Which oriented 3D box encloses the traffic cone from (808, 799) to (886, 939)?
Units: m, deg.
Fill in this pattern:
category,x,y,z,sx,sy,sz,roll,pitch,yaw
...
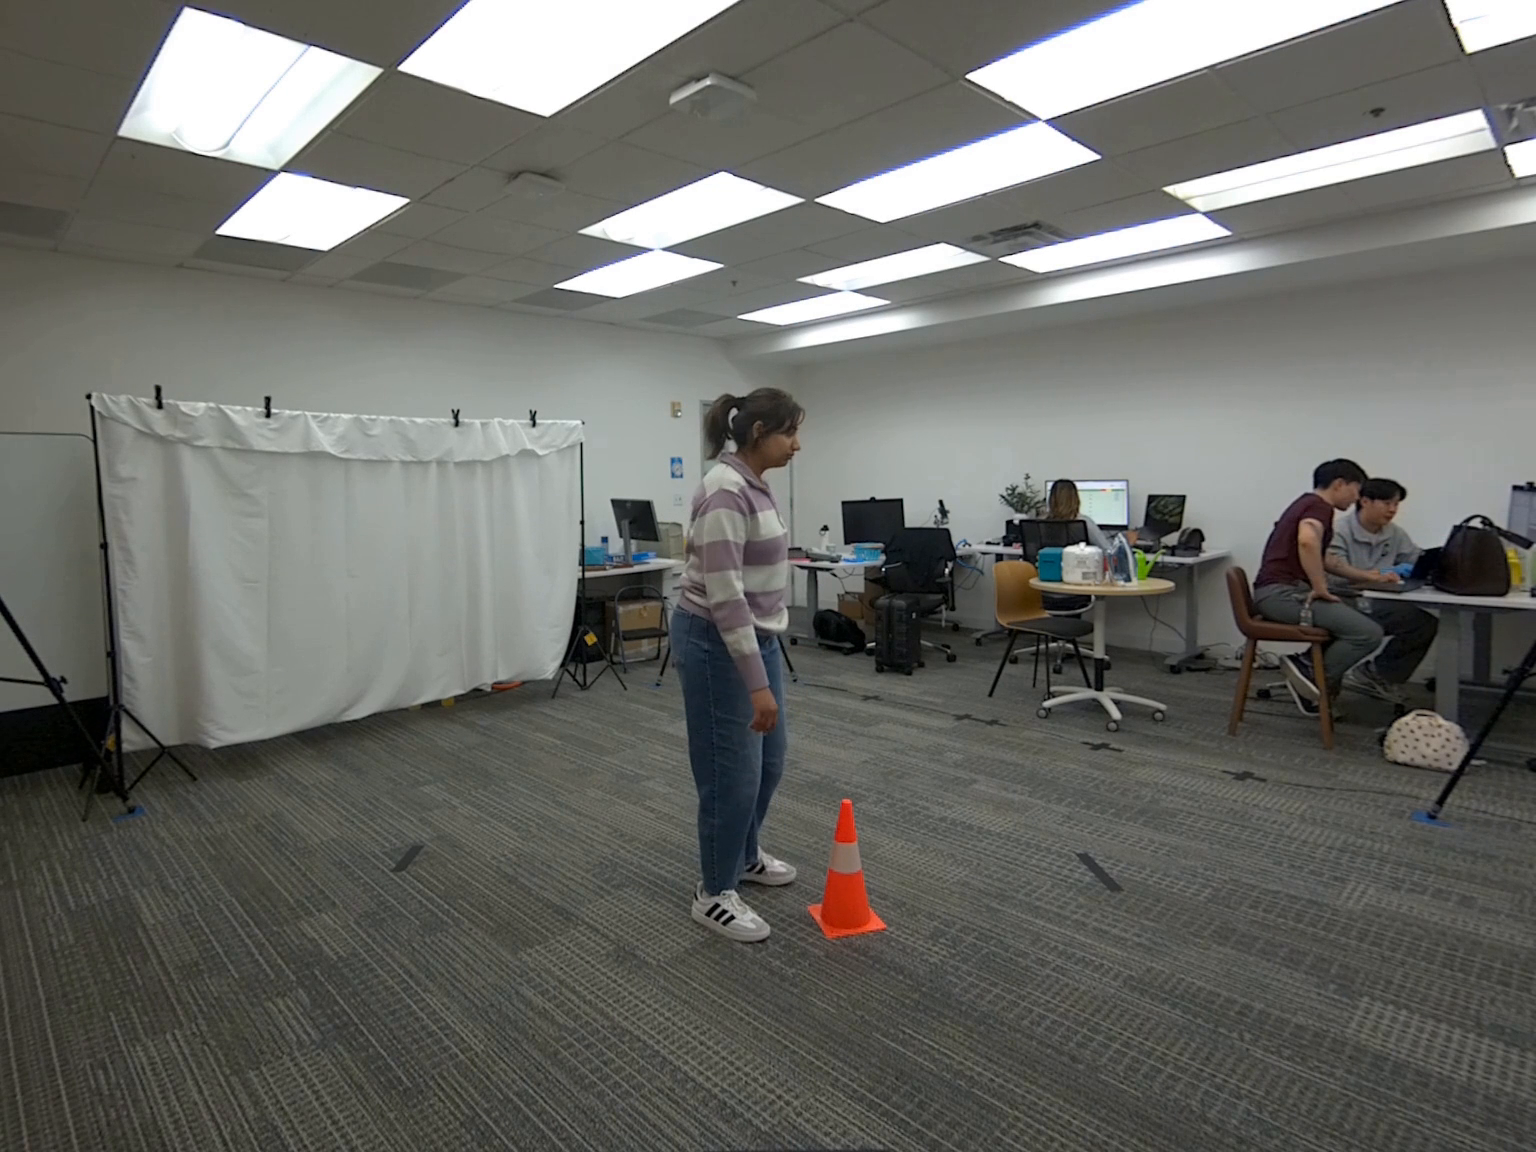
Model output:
category,x,y,z,sx,sy,sz,roll,pitch,yaw
traffic cone,0.240,0.895,2.713,0.200,0.383,0.208,-1,3,-15
